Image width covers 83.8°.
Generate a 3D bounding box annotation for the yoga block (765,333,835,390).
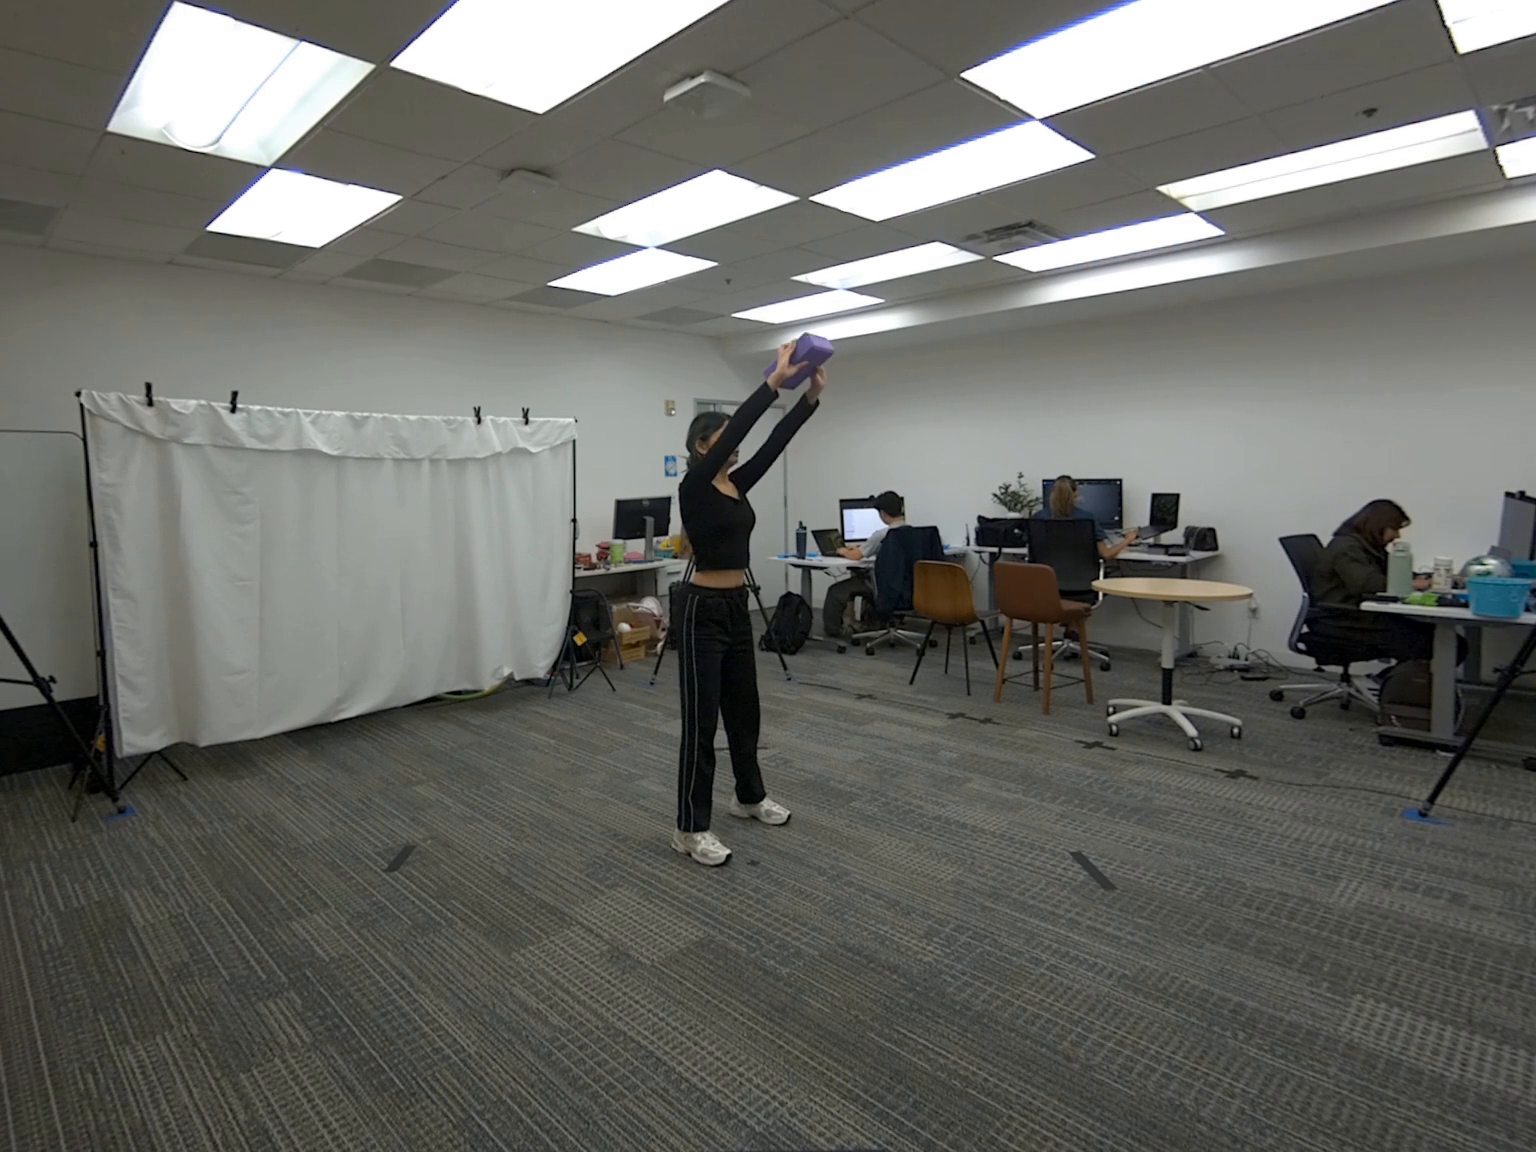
[{"bbox_3d":[0.117,-0.774,3.104,0.230,0.078,0.145,-37,-18,33],"label":"yoga block"}]
